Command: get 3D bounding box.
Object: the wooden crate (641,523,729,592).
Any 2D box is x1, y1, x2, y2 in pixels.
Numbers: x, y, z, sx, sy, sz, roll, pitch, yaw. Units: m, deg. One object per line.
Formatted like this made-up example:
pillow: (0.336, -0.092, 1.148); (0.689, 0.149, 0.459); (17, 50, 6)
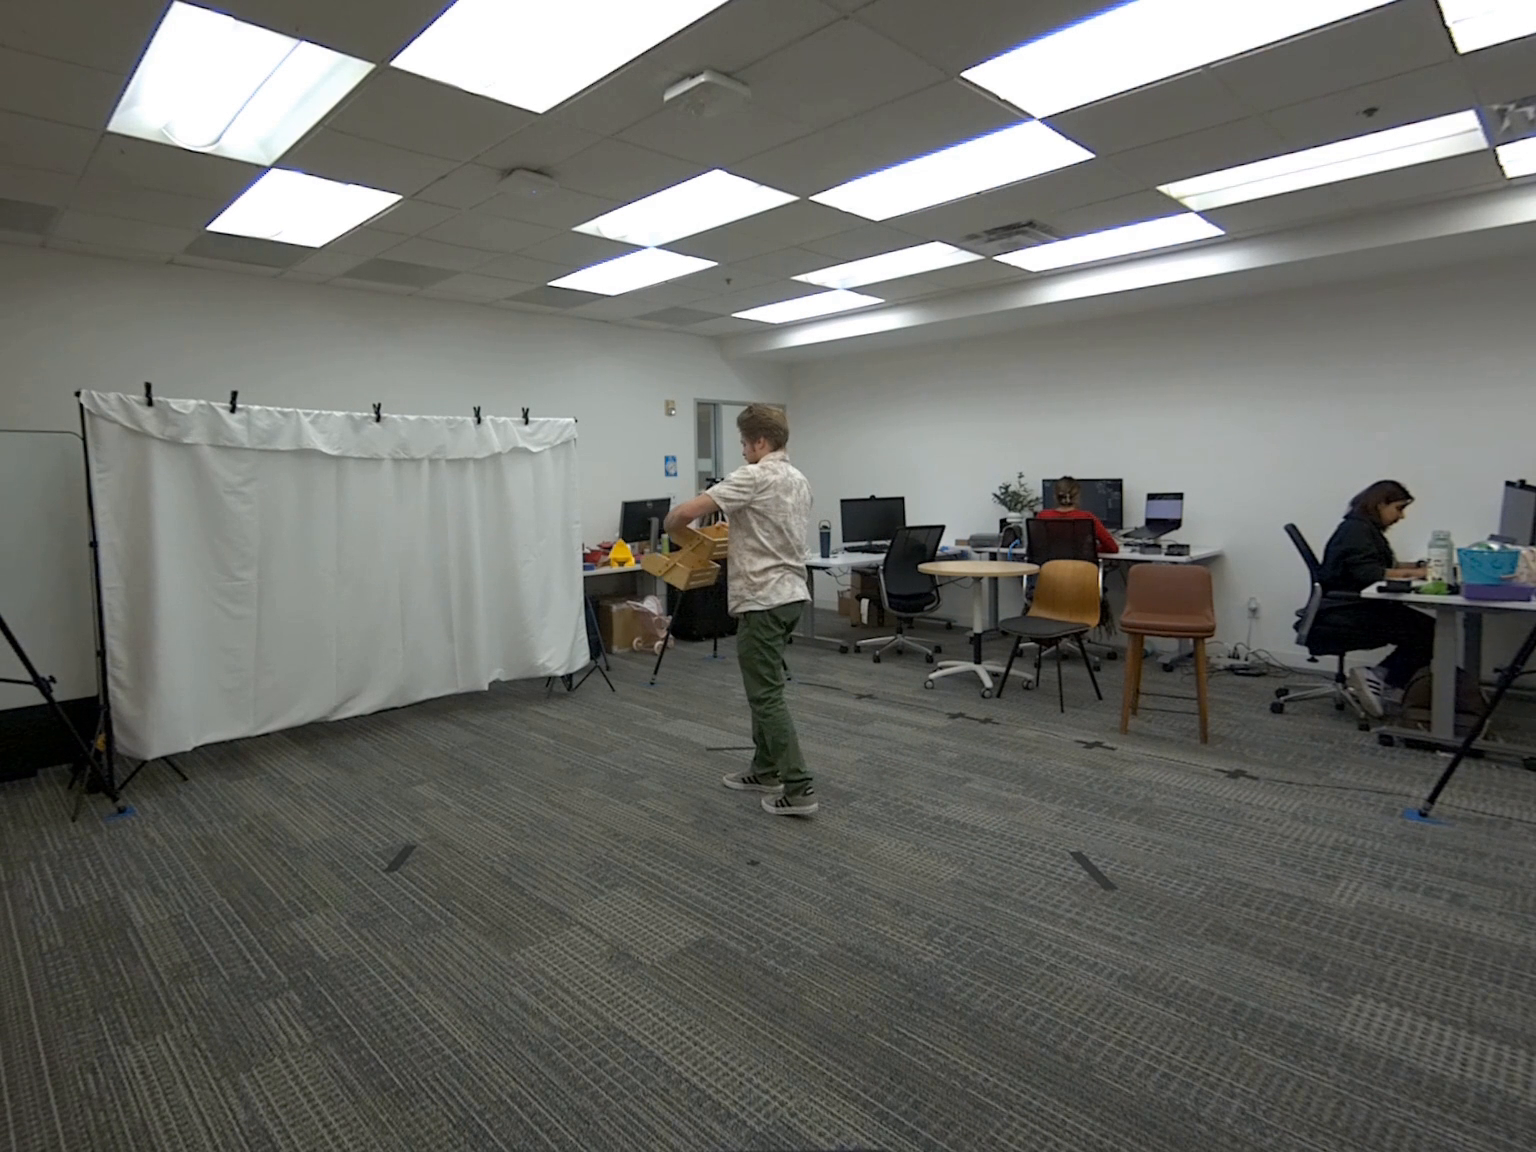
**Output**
wooden crate: (-0.338, -0.116, 3.826); (0.310, 0.271, 0.318); (27, 14, 20)
